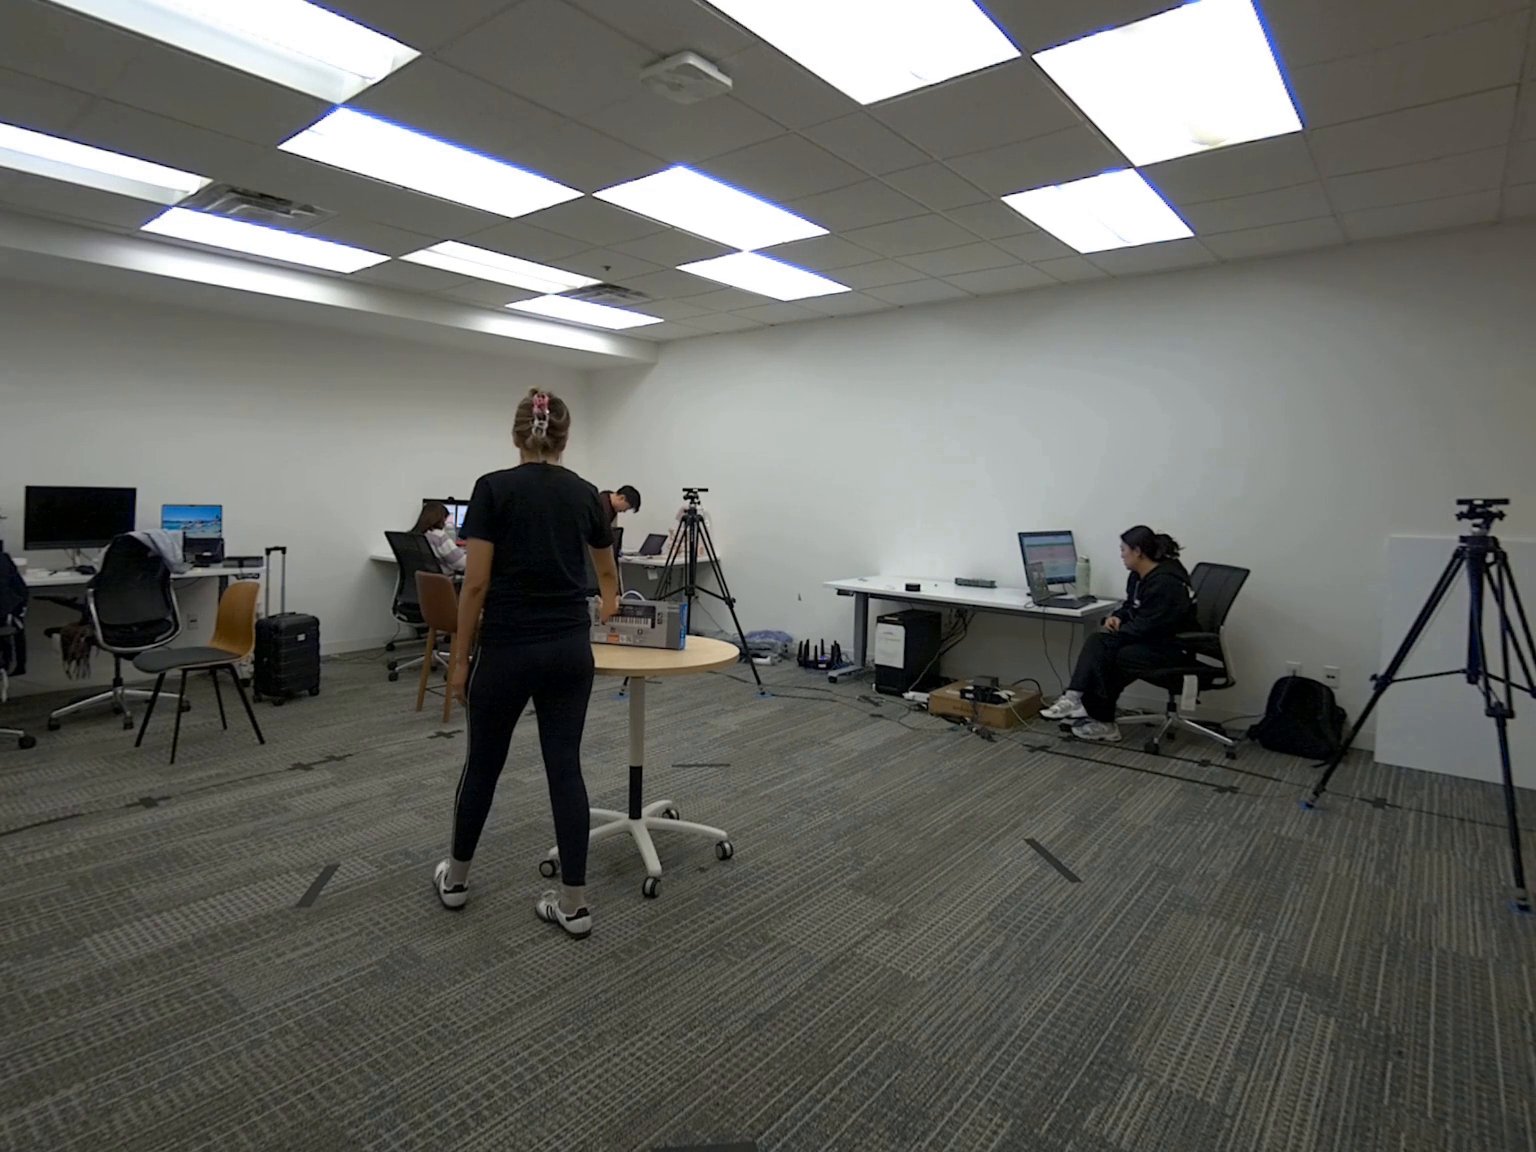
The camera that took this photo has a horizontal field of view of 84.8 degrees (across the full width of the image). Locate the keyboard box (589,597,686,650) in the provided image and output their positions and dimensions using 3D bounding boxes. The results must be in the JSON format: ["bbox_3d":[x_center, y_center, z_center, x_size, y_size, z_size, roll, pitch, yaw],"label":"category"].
[{"bbox_3d":[-0.539,0.177,3.274,0.446,0.176,0.058,2,-1,19],"label":"keyboard box"}]
